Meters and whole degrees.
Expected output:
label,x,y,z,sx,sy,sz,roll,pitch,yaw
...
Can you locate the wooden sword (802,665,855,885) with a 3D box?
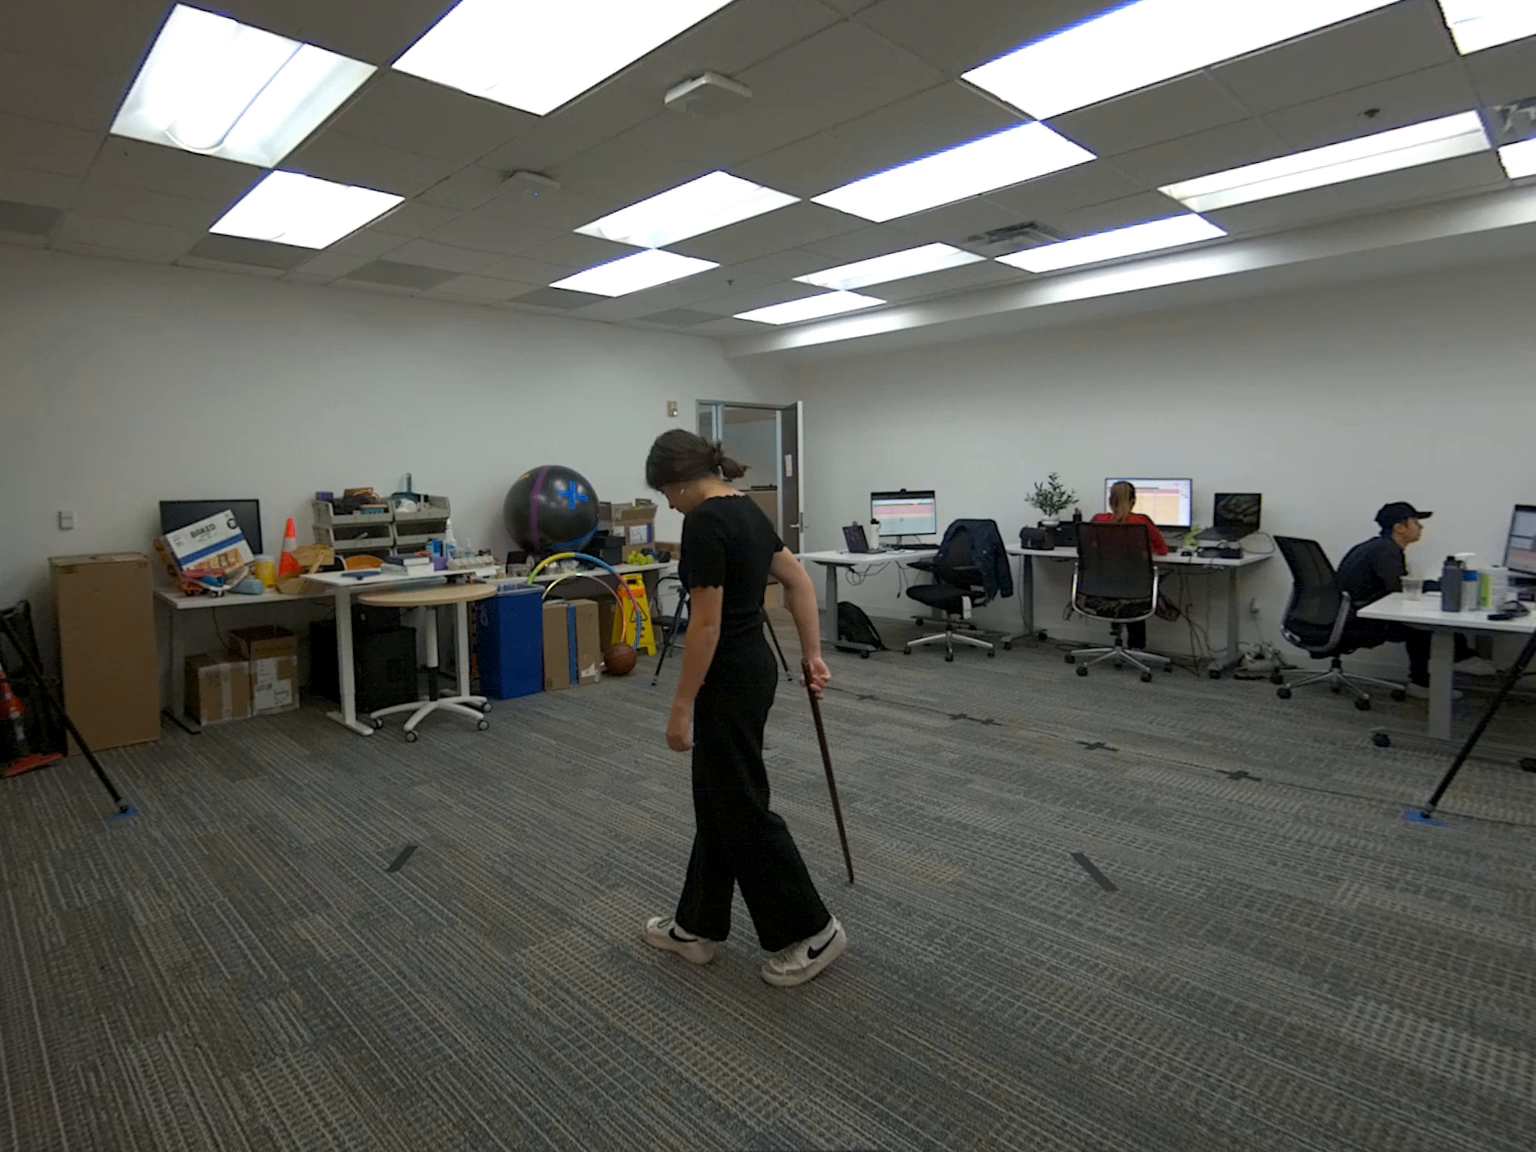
label,x,y,z,sx,sy,sz,roll,pitch,yaw
wooden sword,0.206,0.657,2.682,0.024,0.994,0.053,-18,35,-9
